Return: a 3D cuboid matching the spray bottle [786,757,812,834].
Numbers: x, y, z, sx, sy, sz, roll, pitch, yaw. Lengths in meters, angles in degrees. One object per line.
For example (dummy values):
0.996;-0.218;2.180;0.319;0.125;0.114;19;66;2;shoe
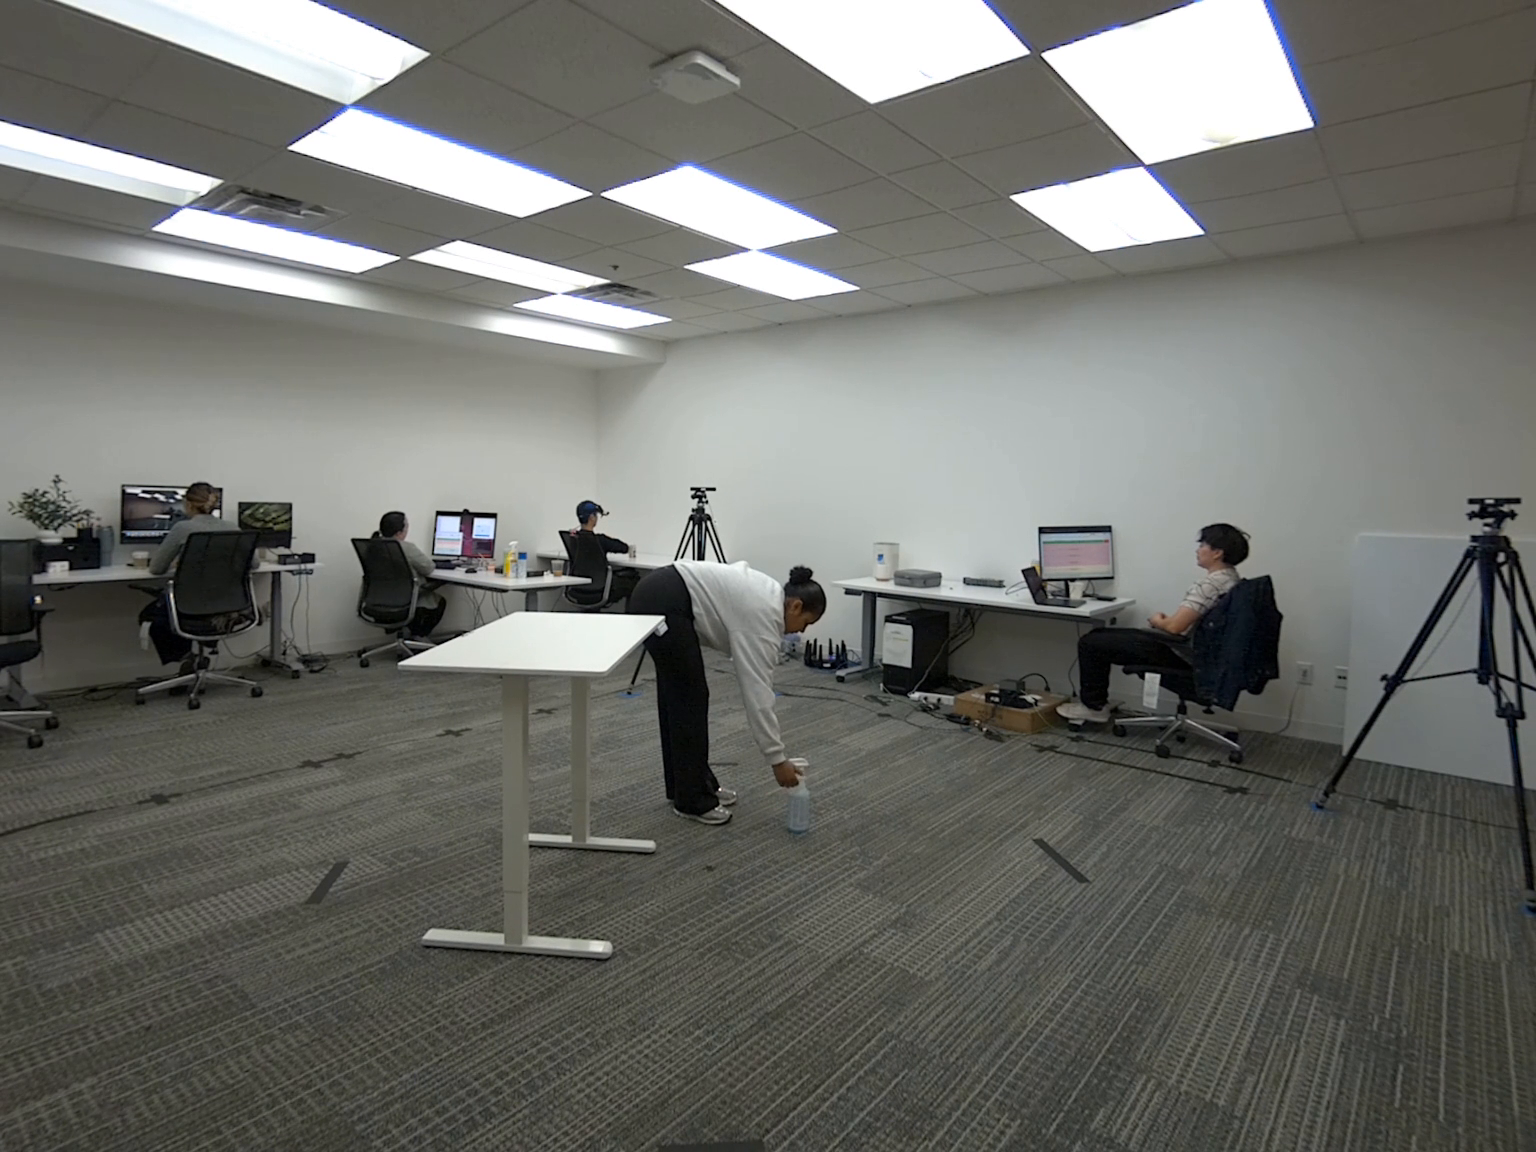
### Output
0.114;0.890;3.480;0.089;0.296;0.088;-1;5;-7;spray bottle
